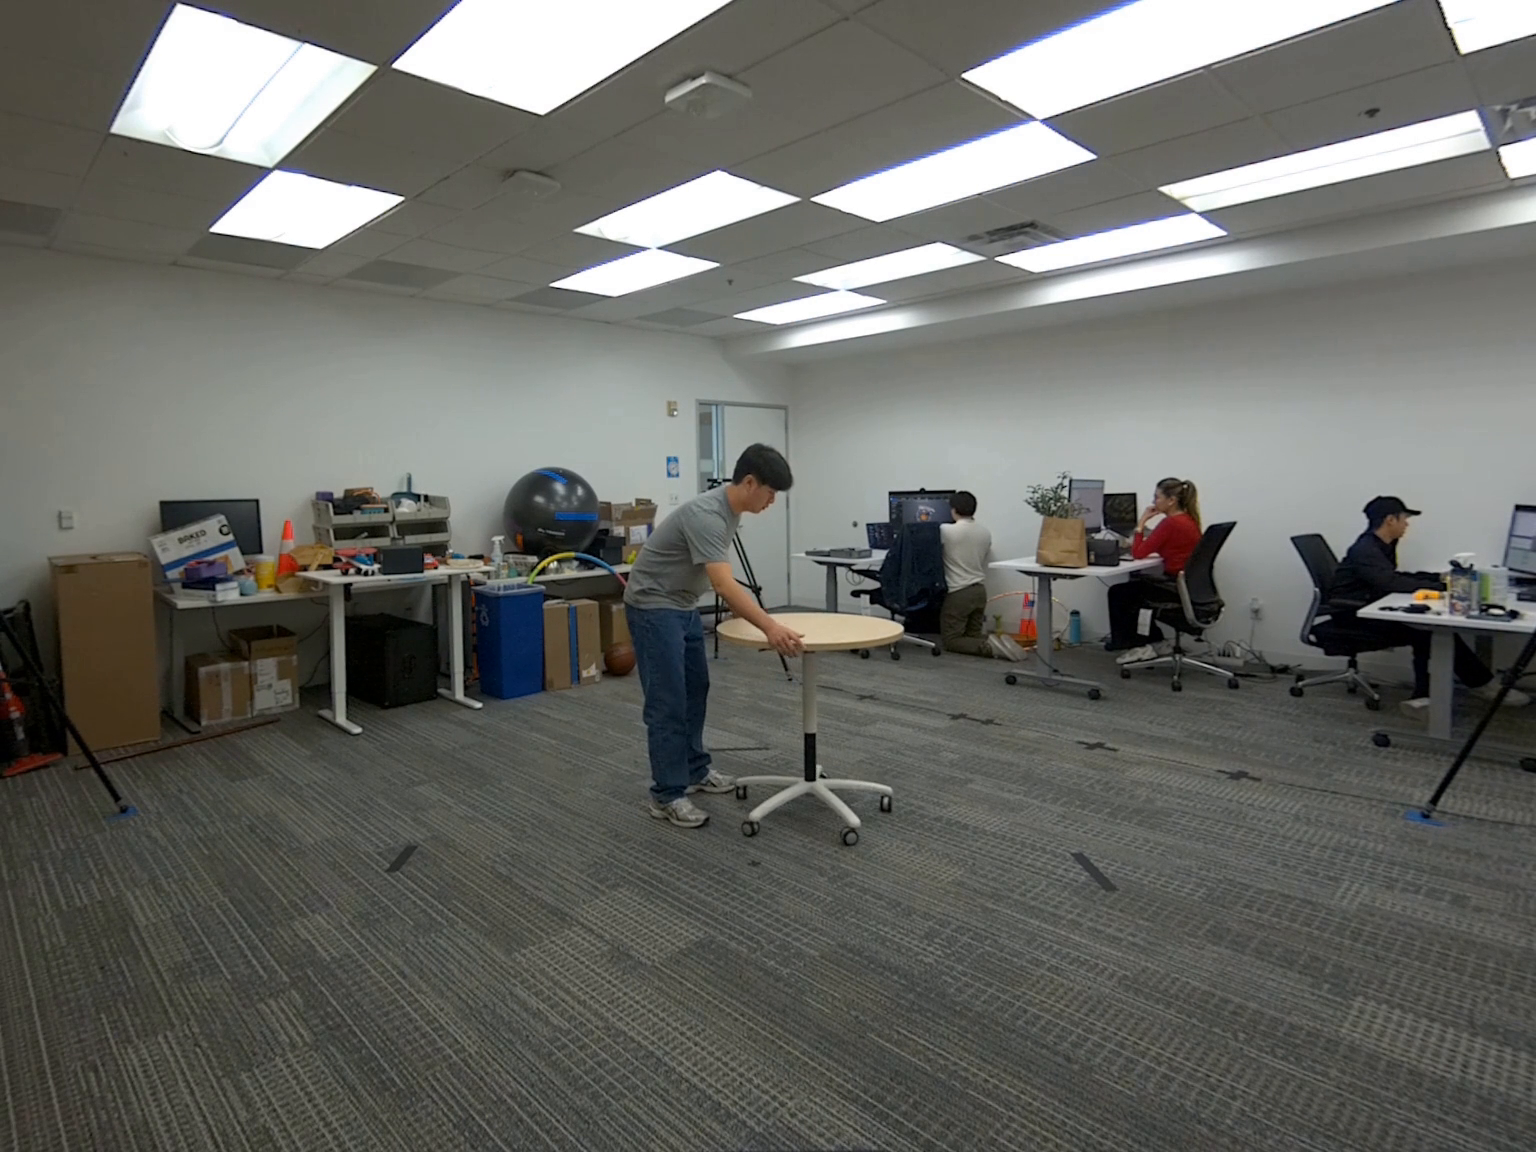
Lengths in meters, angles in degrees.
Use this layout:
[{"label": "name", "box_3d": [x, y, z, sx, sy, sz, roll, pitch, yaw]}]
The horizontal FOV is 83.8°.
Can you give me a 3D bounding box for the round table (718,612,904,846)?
[{"label": "round table", "box_3d": [0.178, 0.602, 3.545, 0.763, 0.791, 0.767, -1, 4, -2]}]
